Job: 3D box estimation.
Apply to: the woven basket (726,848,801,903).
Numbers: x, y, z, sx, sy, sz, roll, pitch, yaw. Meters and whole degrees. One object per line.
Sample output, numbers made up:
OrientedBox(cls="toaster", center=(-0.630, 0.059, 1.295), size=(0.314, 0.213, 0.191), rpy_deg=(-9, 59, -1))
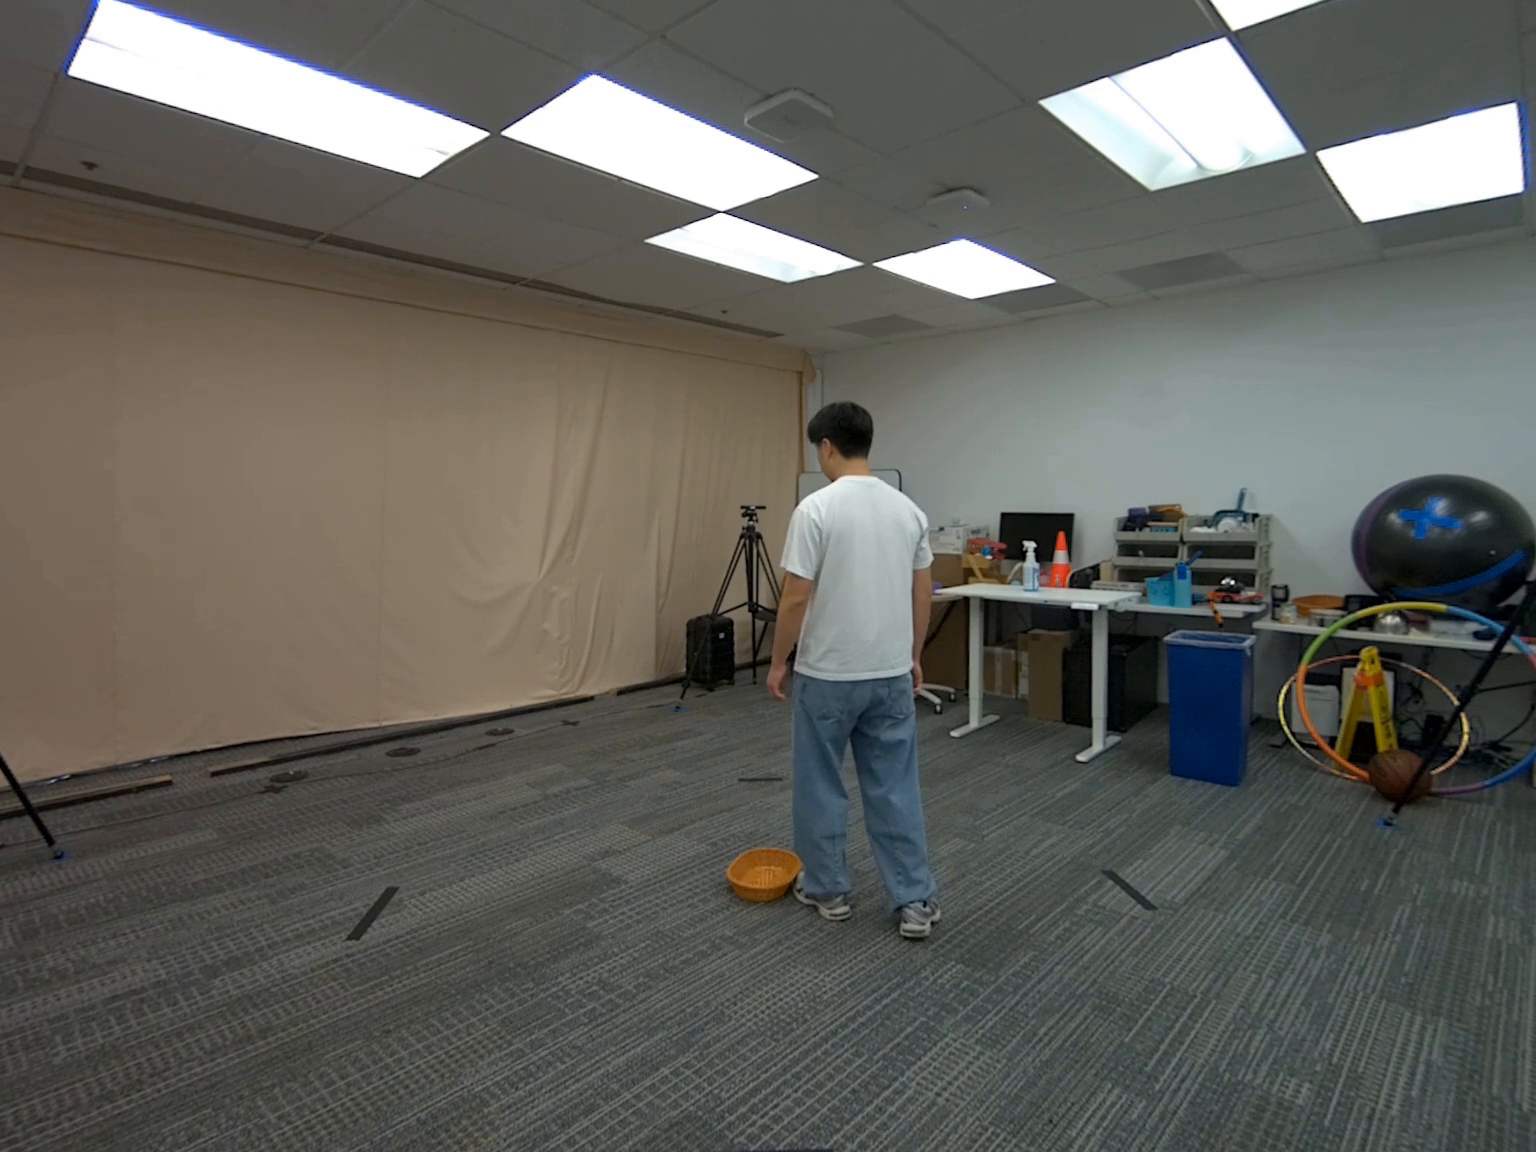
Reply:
OrientedBox(cls="woven basket", center=(-0.012, 1.096, 3.087), size=(0.258, 0.073, 0.343), rpy_deg=(1, 5, 21))
